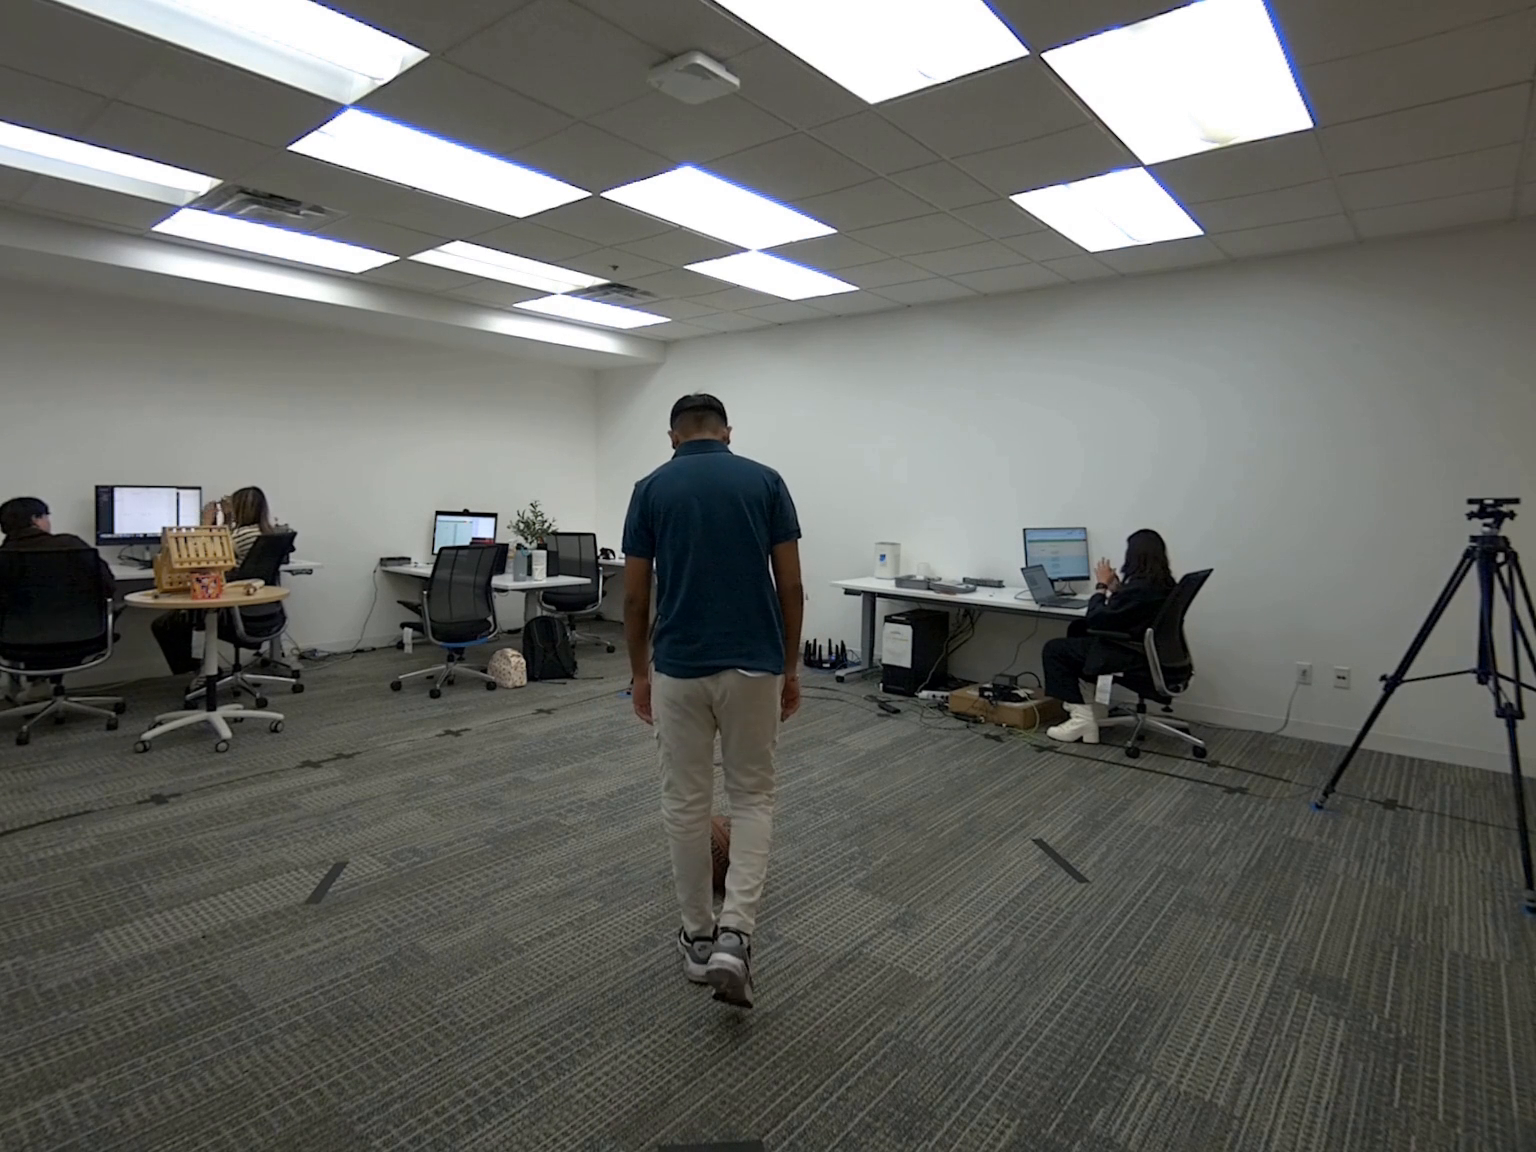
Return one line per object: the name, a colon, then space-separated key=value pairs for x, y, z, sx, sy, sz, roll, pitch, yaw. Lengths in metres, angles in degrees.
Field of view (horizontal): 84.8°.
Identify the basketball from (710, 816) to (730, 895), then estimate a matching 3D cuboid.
basketball: x=-0.170 y=0.954 z=2.977 sx=0.235 sy=0.235 sz=0.237 roll=1 pitch=4 yaw=-2
